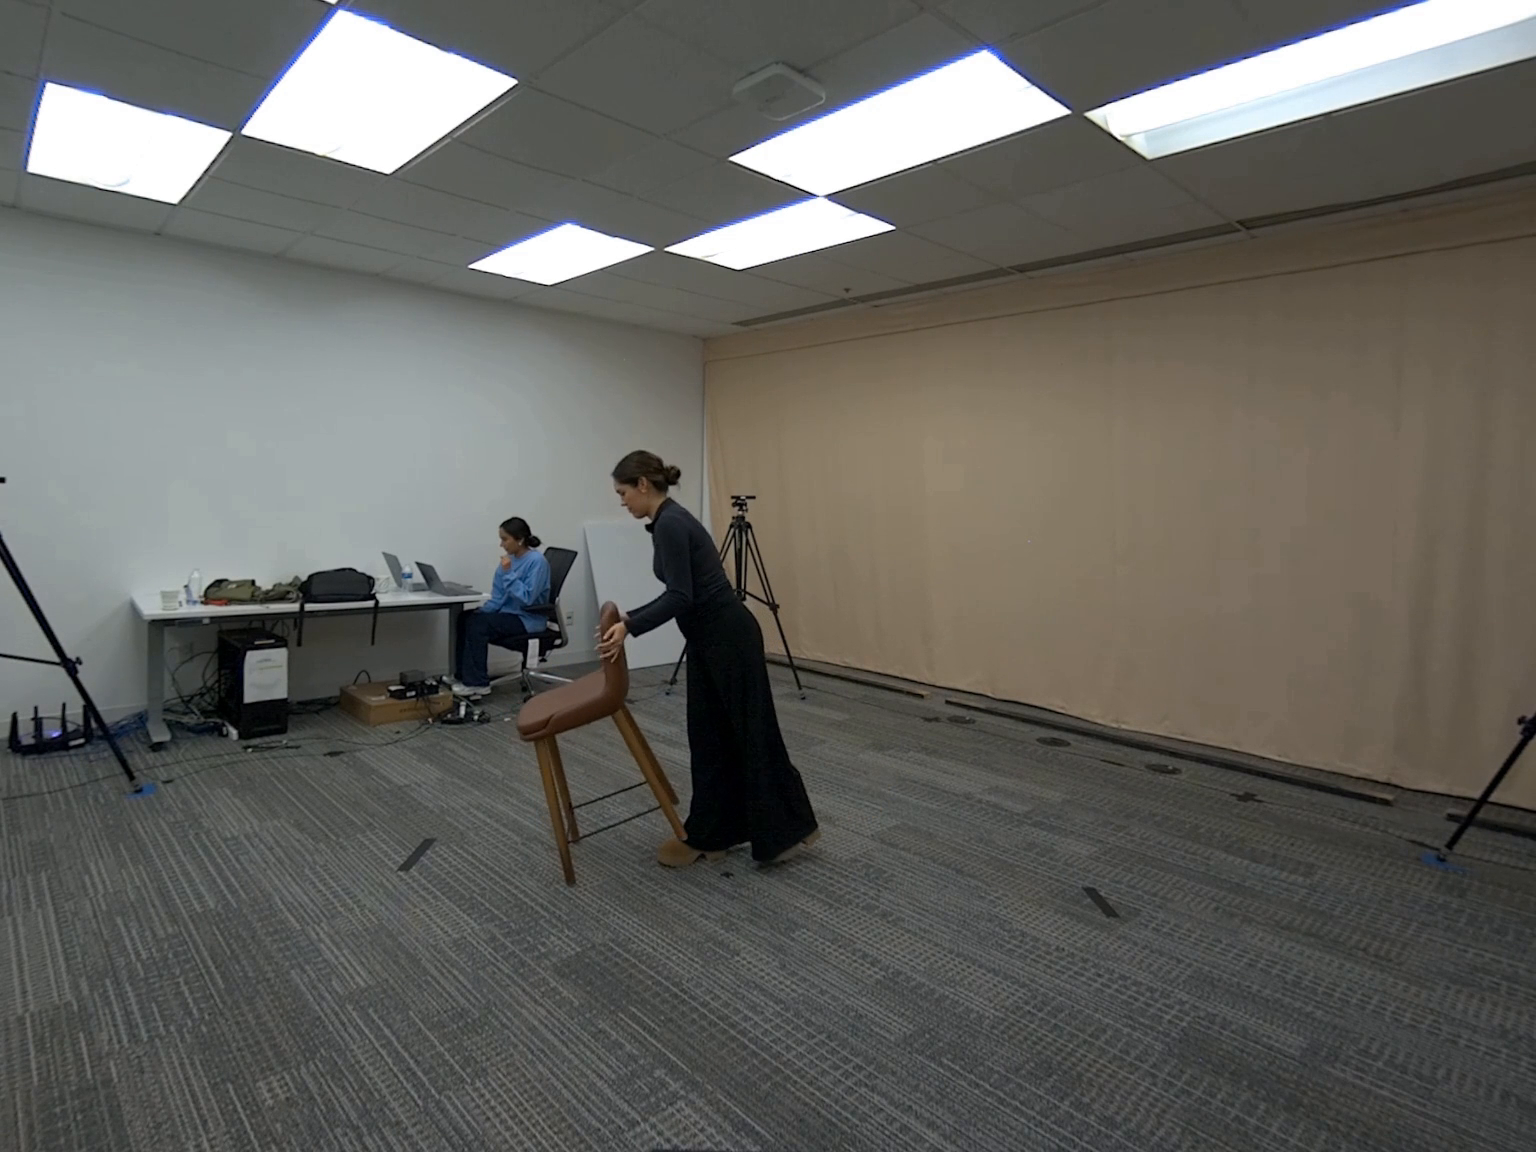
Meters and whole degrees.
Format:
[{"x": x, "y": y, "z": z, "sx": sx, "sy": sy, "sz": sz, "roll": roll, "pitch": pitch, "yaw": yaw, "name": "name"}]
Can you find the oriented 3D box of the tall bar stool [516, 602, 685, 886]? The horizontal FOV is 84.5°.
[{"x": -0.667, "y": 0.598, "z": 3.153, "sx": 0.466, "sy": 0.885, "sz": 0.461, "roll": -18, "pitch": 6, "yaw": -8, "name": "tall bar stool"}]
